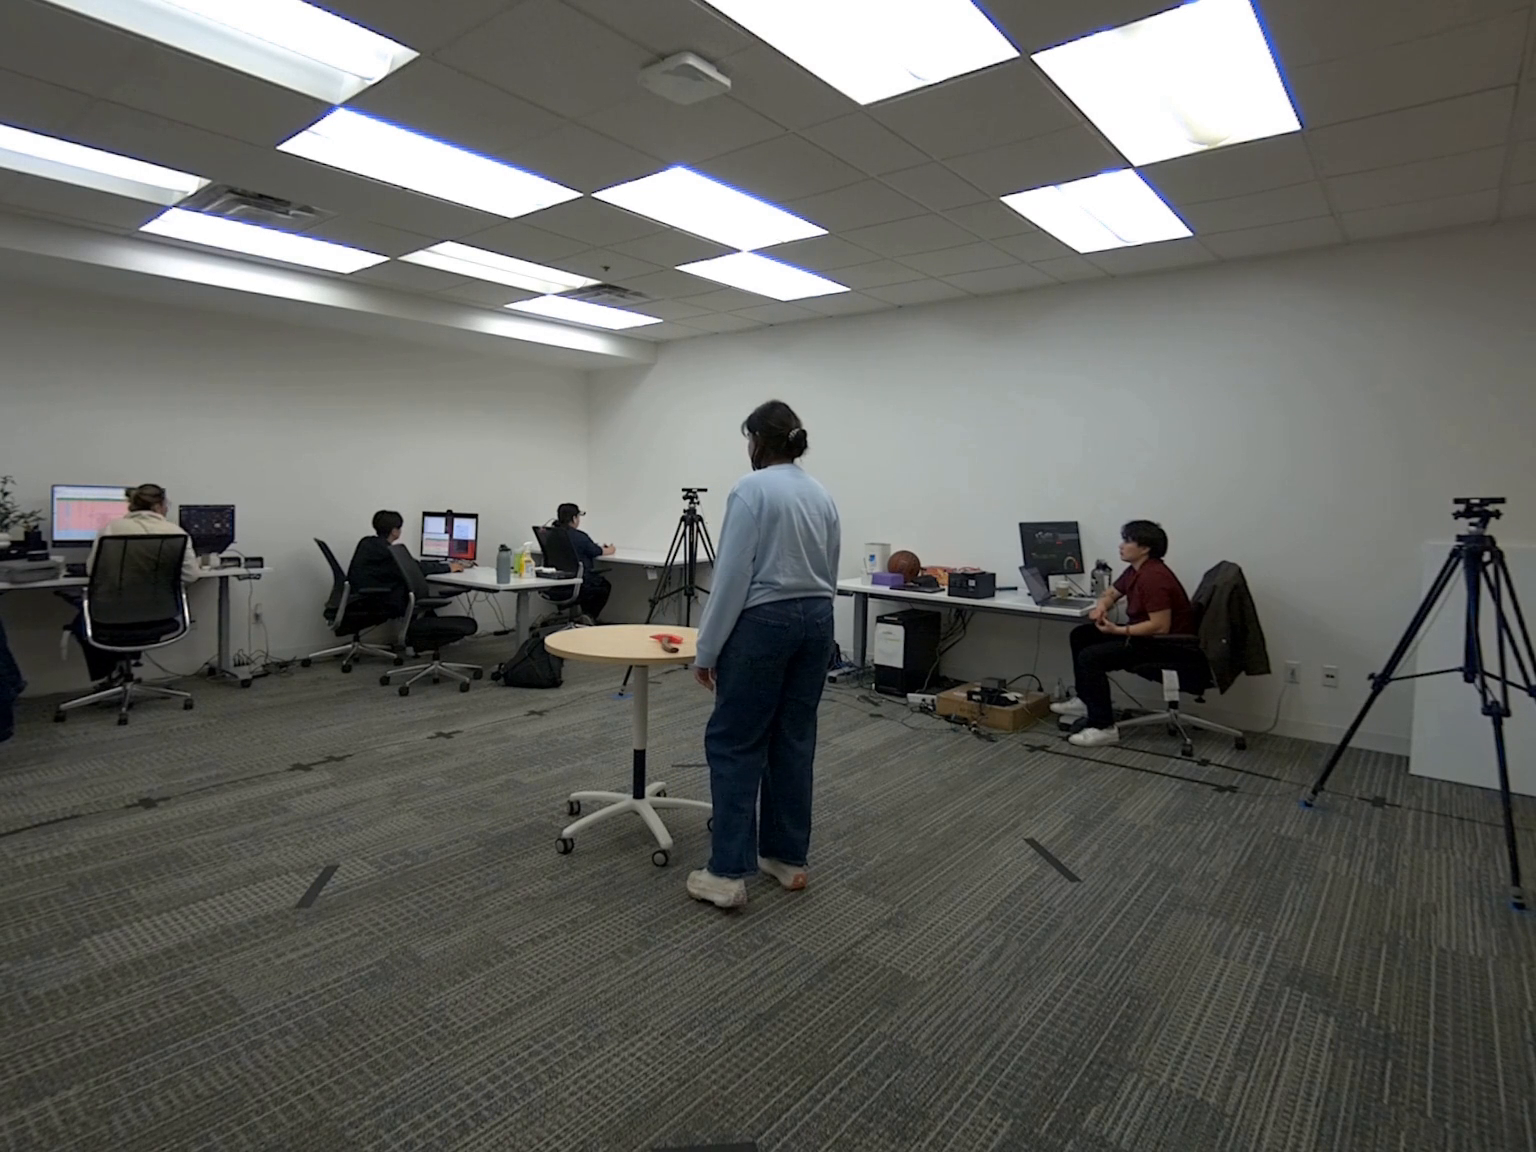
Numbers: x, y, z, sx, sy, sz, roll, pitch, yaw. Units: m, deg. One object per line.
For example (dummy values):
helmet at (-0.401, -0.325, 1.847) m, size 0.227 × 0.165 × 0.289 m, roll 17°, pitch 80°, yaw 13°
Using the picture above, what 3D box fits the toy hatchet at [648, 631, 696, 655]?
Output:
toy hatchet at (-0.370, 0.257, 3.283) m, size 0.128 × 0.029 × 0.277 m, roll 4°, pitch 6°, yaw -23°
